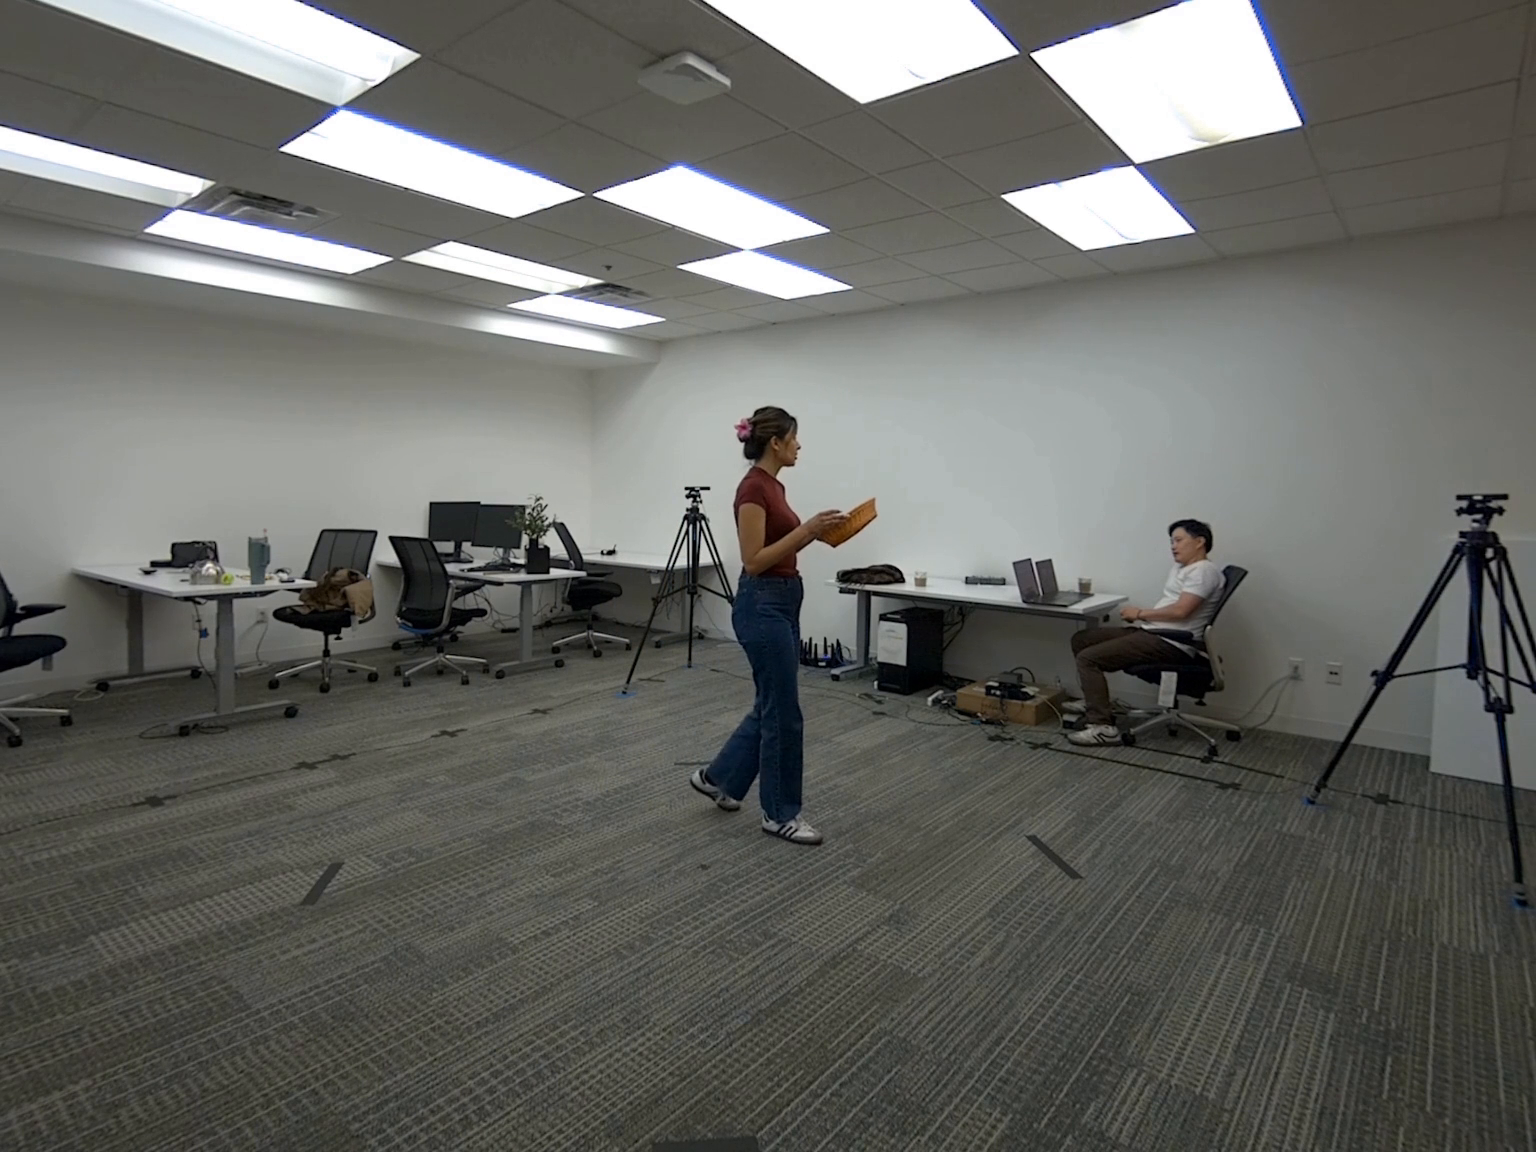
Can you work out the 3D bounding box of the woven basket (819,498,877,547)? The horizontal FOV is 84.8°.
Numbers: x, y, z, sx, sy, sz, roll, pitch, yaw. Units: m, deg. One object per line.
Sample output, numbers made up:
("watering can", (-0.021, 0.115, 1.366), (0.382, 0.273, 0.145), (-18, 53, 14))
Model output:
("woven basket", (0.316, -0.205, 3.370), (0.253, 0.074, 0.345), (-40, -6, 32))
